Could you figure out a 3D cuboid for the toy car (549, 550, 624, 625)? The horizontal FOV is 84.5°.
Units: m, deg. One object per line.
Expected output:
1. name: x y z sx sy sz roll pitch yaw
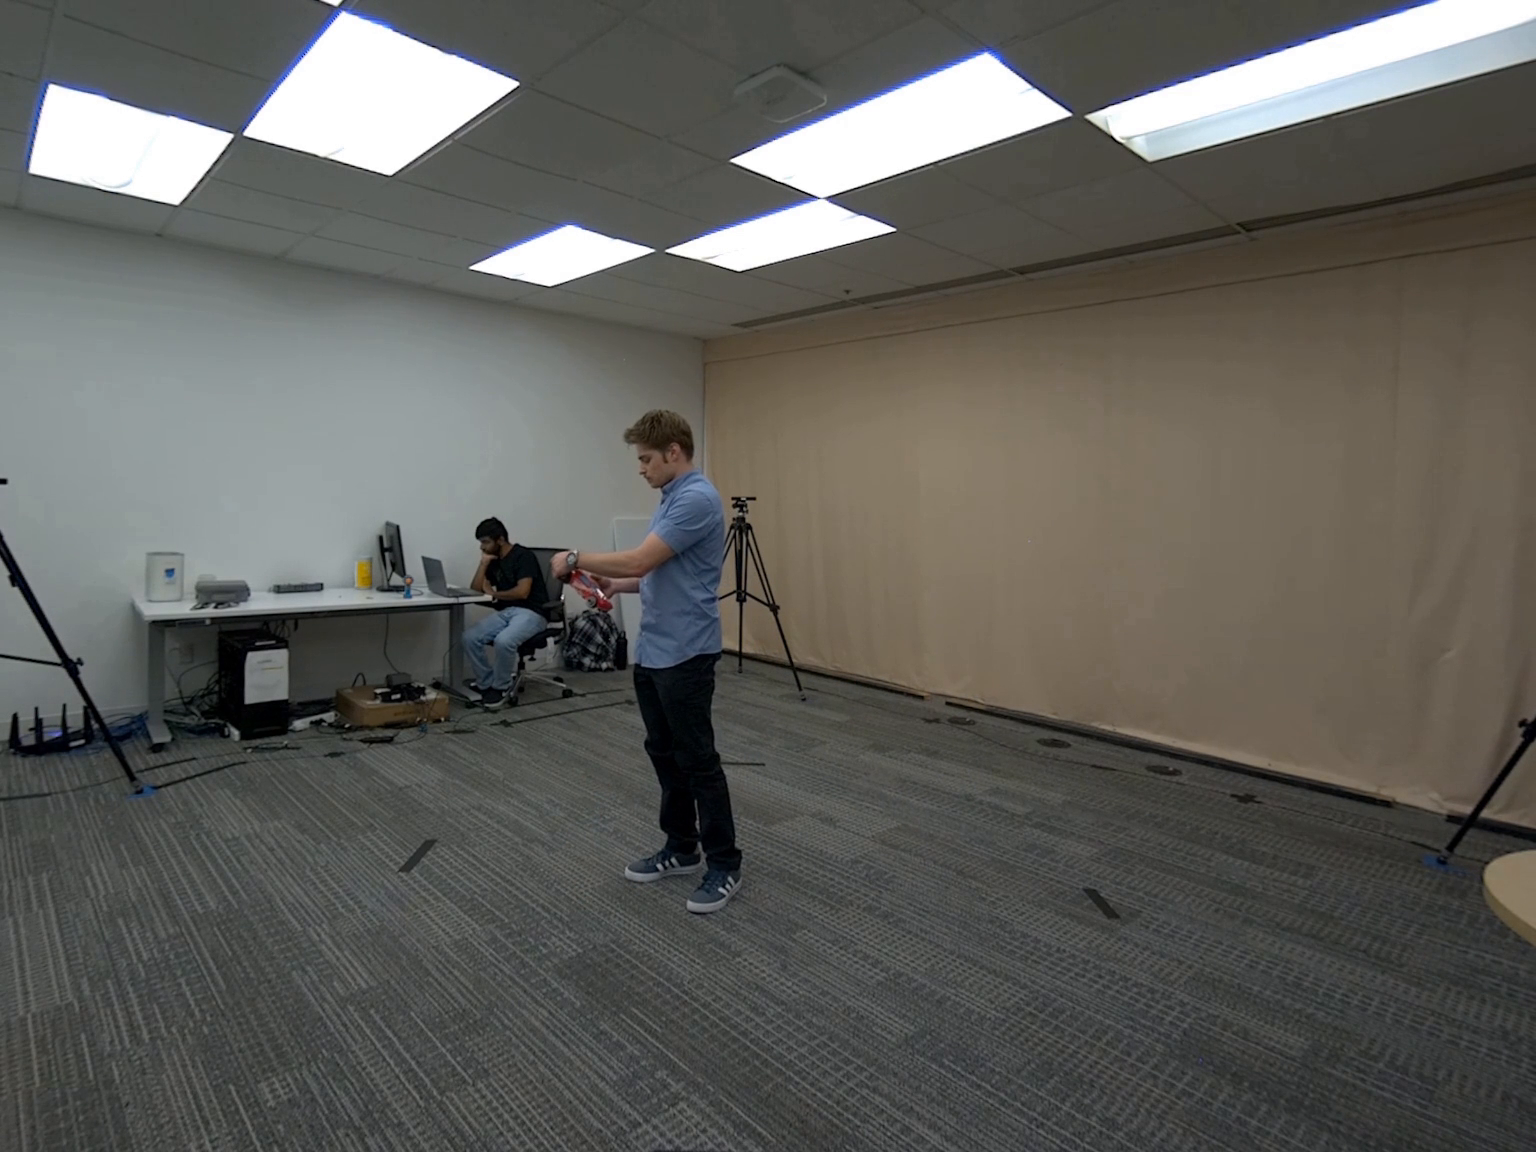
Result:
1. toy car: -0.638 0.040 2.962 0.260 0.083 0.127 48 5 22
